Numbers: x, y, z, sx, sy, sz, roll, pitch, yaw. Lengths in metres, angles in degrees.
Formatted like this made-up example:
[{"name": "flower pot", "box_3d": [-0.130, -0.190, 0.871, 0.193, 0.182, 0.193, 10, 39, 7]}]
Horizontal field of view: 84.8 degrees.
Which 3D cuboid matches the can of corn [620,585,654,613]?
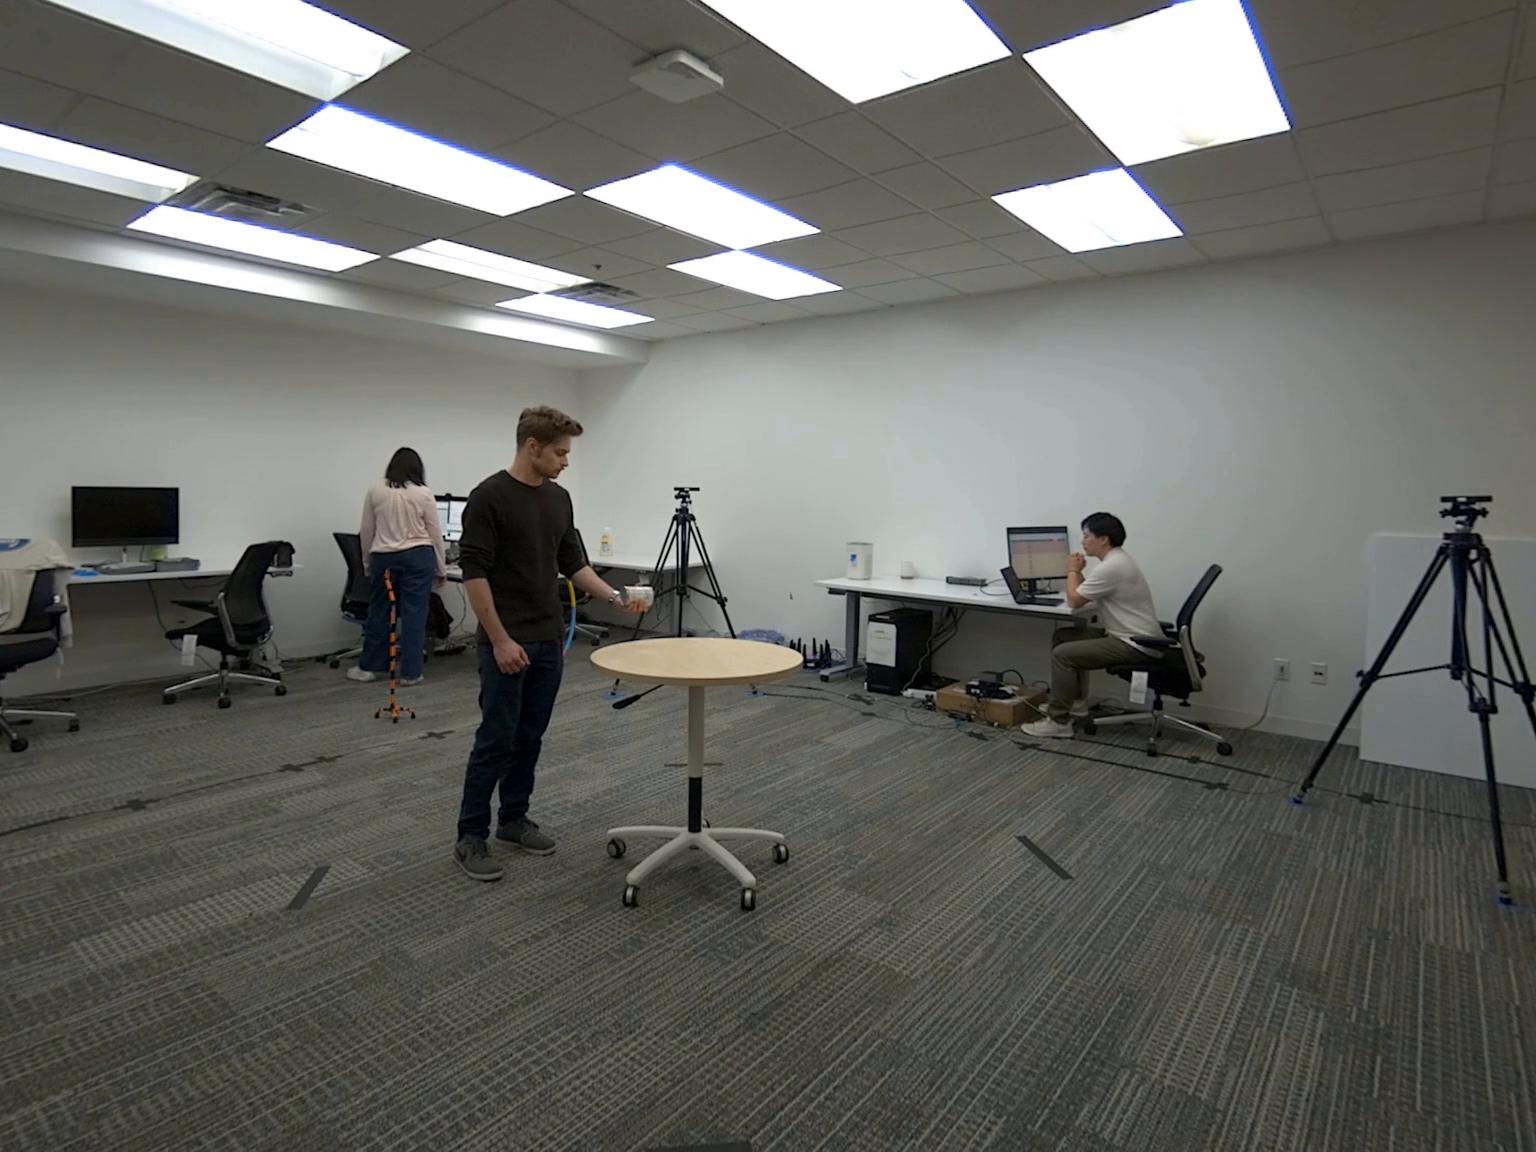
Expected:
[{"name": "can of corn", "box_3d": [-0.517, 0.076, 3.279, 0.108, 0.074, 0.076, 1, 3, -26]}]
